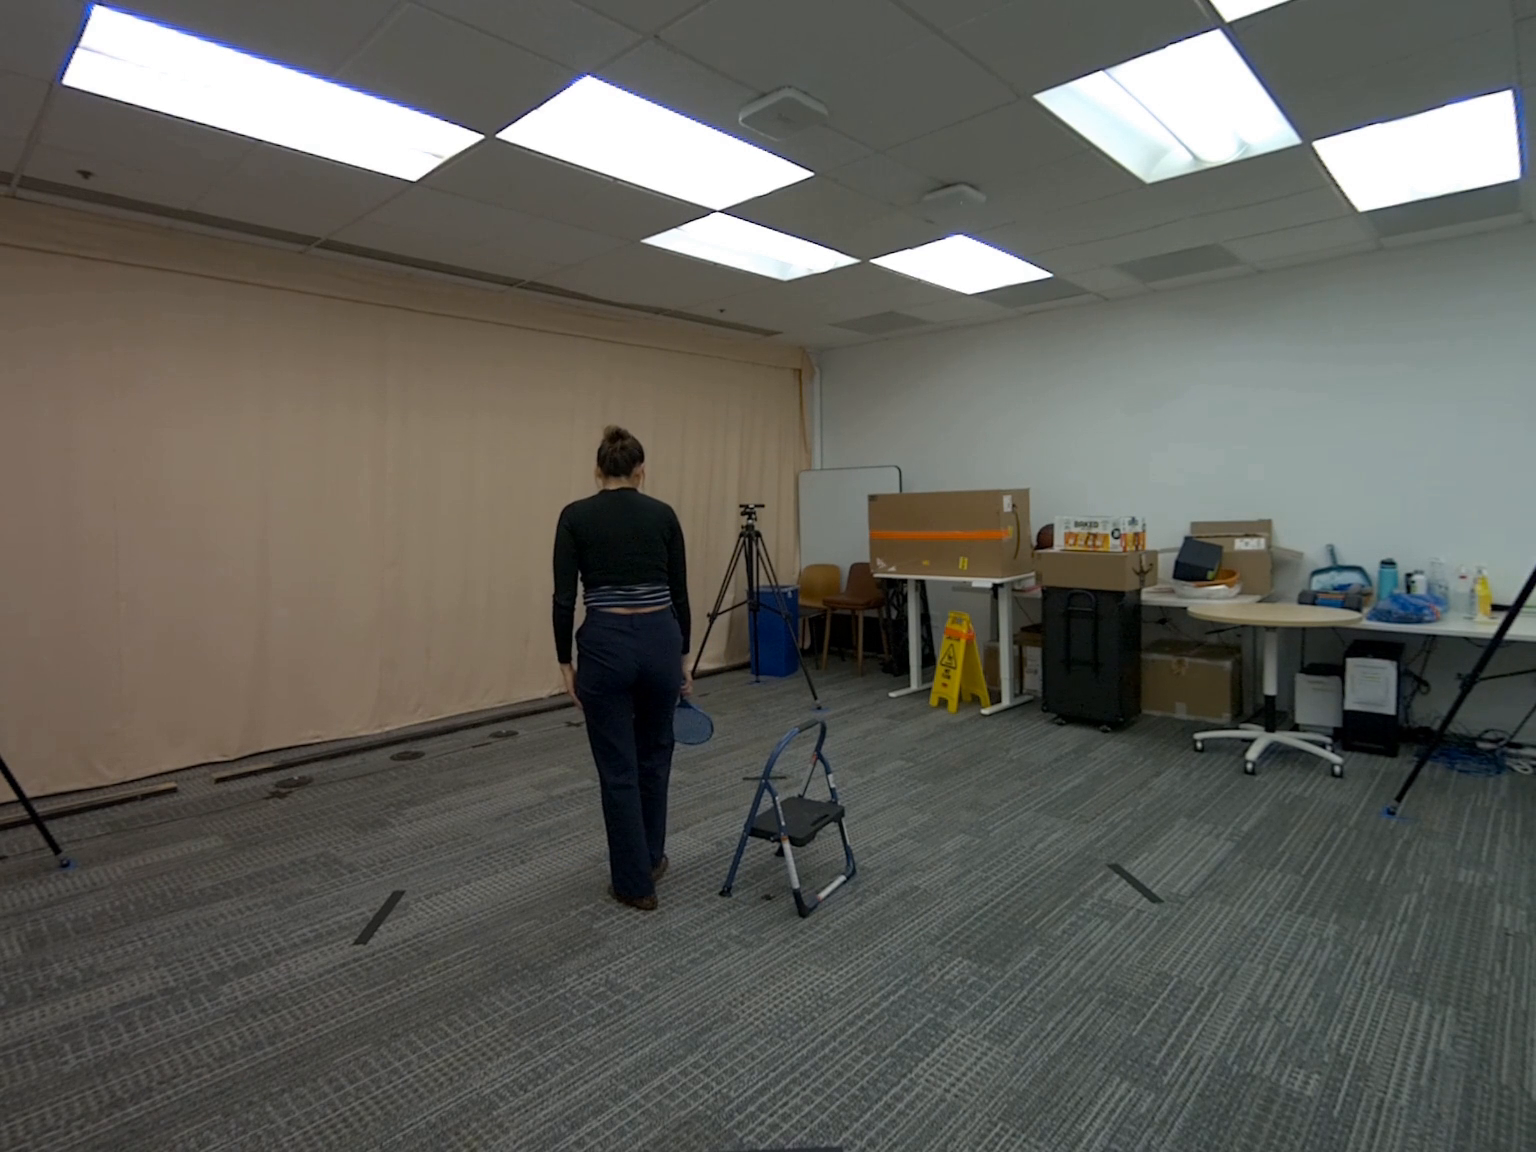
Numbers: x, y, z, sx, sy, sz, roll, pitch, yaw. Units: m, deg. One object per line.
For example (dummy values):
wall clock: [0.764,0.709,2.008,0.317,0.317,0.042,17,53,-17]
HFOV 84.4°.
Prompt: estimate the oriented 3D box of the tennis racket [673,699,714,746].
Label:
tennis racket: [-0.340,0.551,3.300,0.214,0.426,0.032,9,39,2]
